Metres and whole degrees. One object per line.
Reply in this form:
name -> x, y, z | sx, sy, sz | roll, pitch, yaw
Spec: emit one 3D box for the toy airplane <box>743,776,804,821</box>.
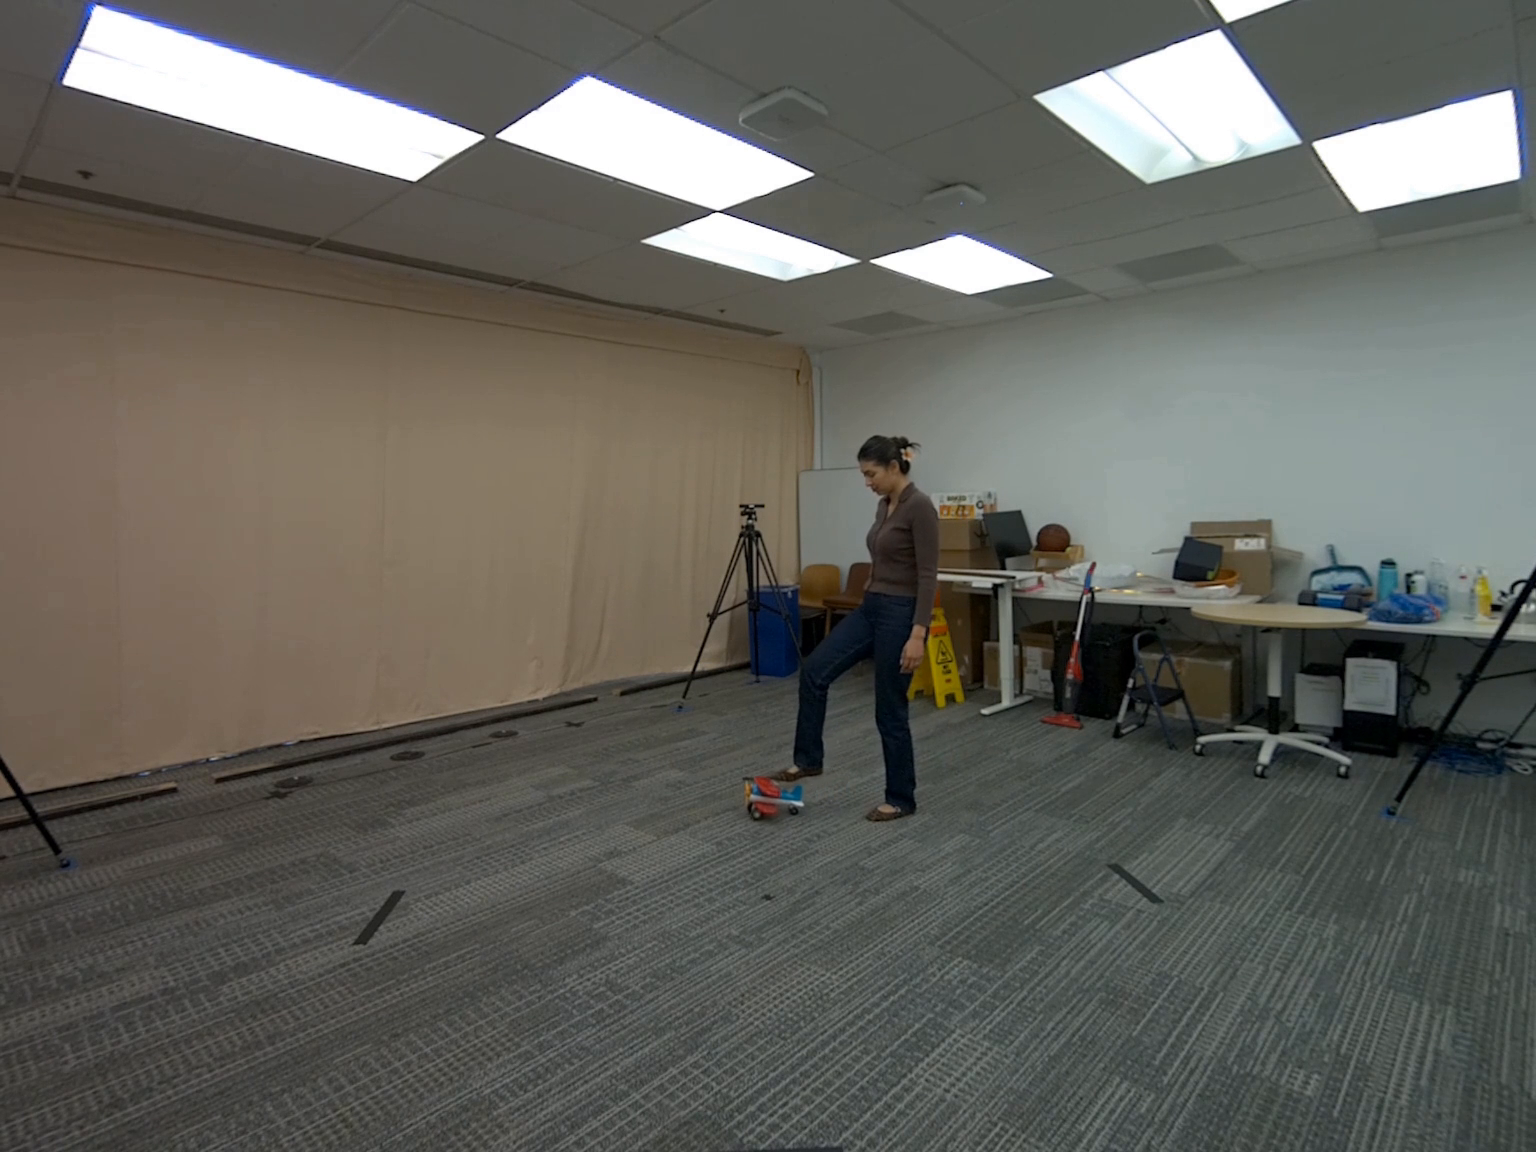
toy airplane -> 0.023, 0.998, 3.793 | 0.251, 0.156, 0.259 | -5, 4, -38
